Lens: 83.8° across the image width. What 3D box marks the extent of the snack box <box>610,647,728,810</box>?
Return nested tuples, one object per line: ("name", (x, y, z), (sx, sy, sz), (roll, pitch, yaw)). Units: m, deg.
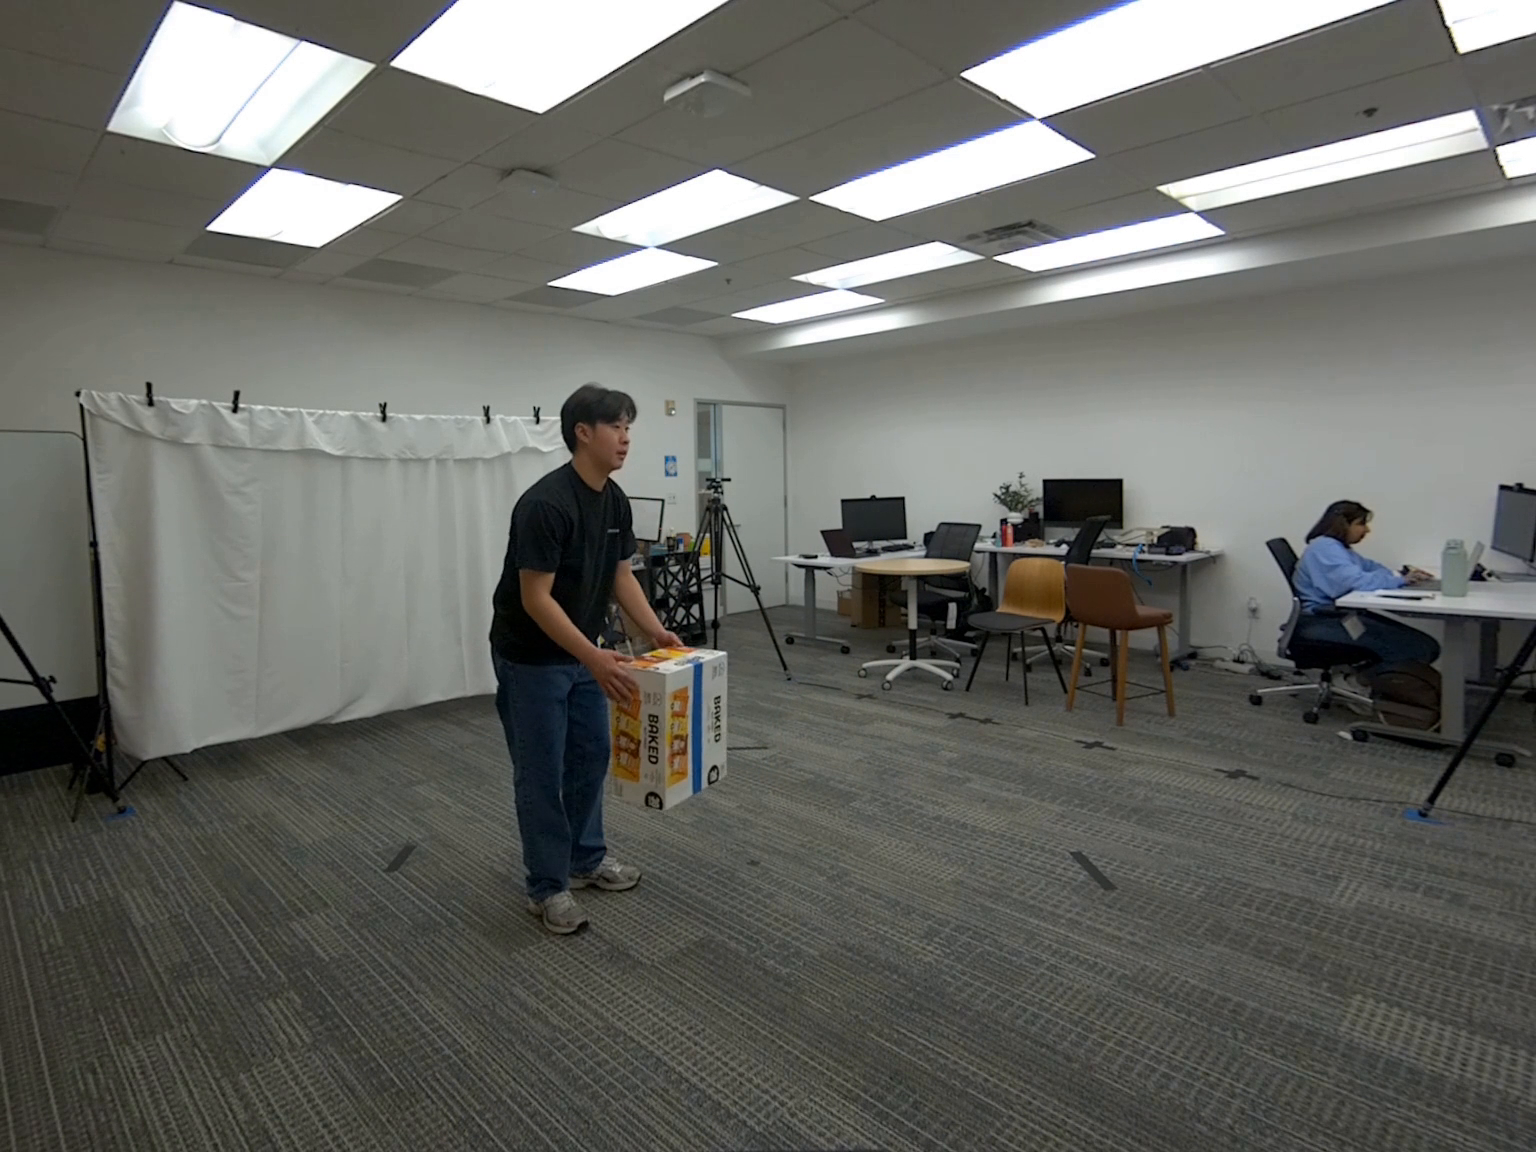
("snack box", (-0.295, 0.449, 2.620), (0.211, 0.403, 0.333), (3, 5, 29))
